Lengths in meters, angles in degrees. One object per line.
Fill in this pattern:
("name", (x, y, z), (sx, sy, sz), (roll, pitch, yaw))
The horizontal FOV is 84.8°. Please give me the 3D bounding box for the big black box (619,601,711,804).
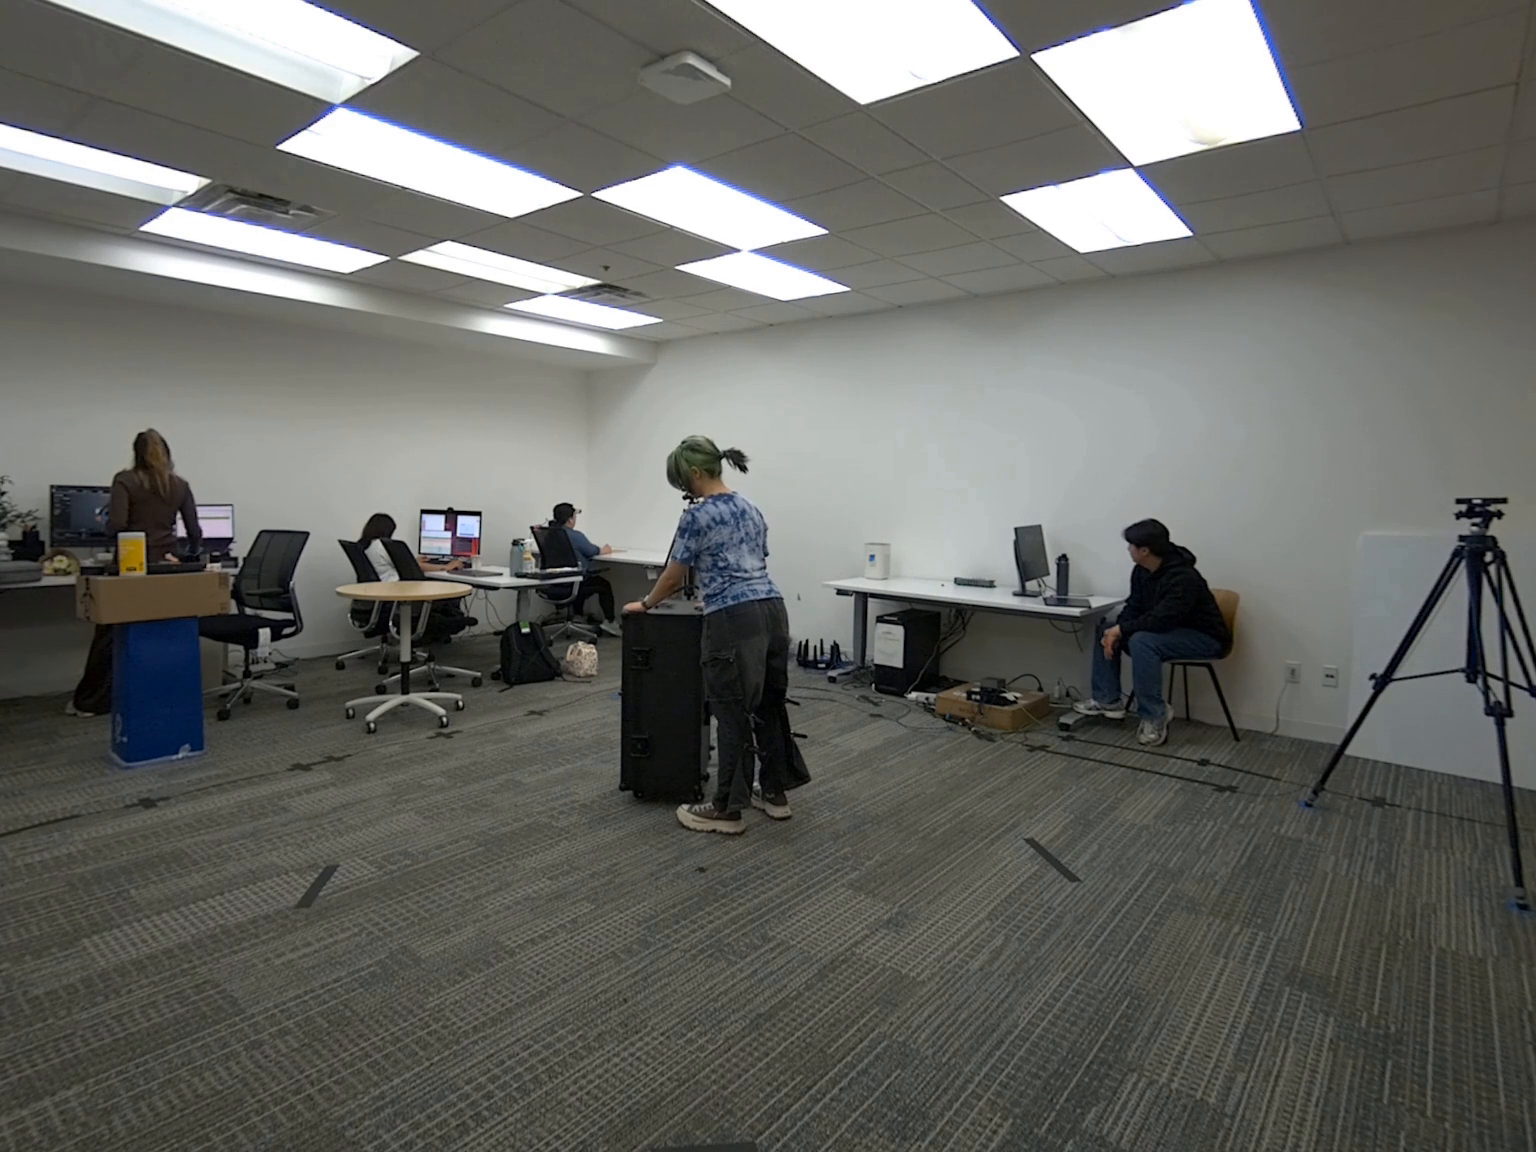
("big black box", (-0.466, 0.561, 3.934), (0.398, 0.859, 0.520), (2, 4, 4))
